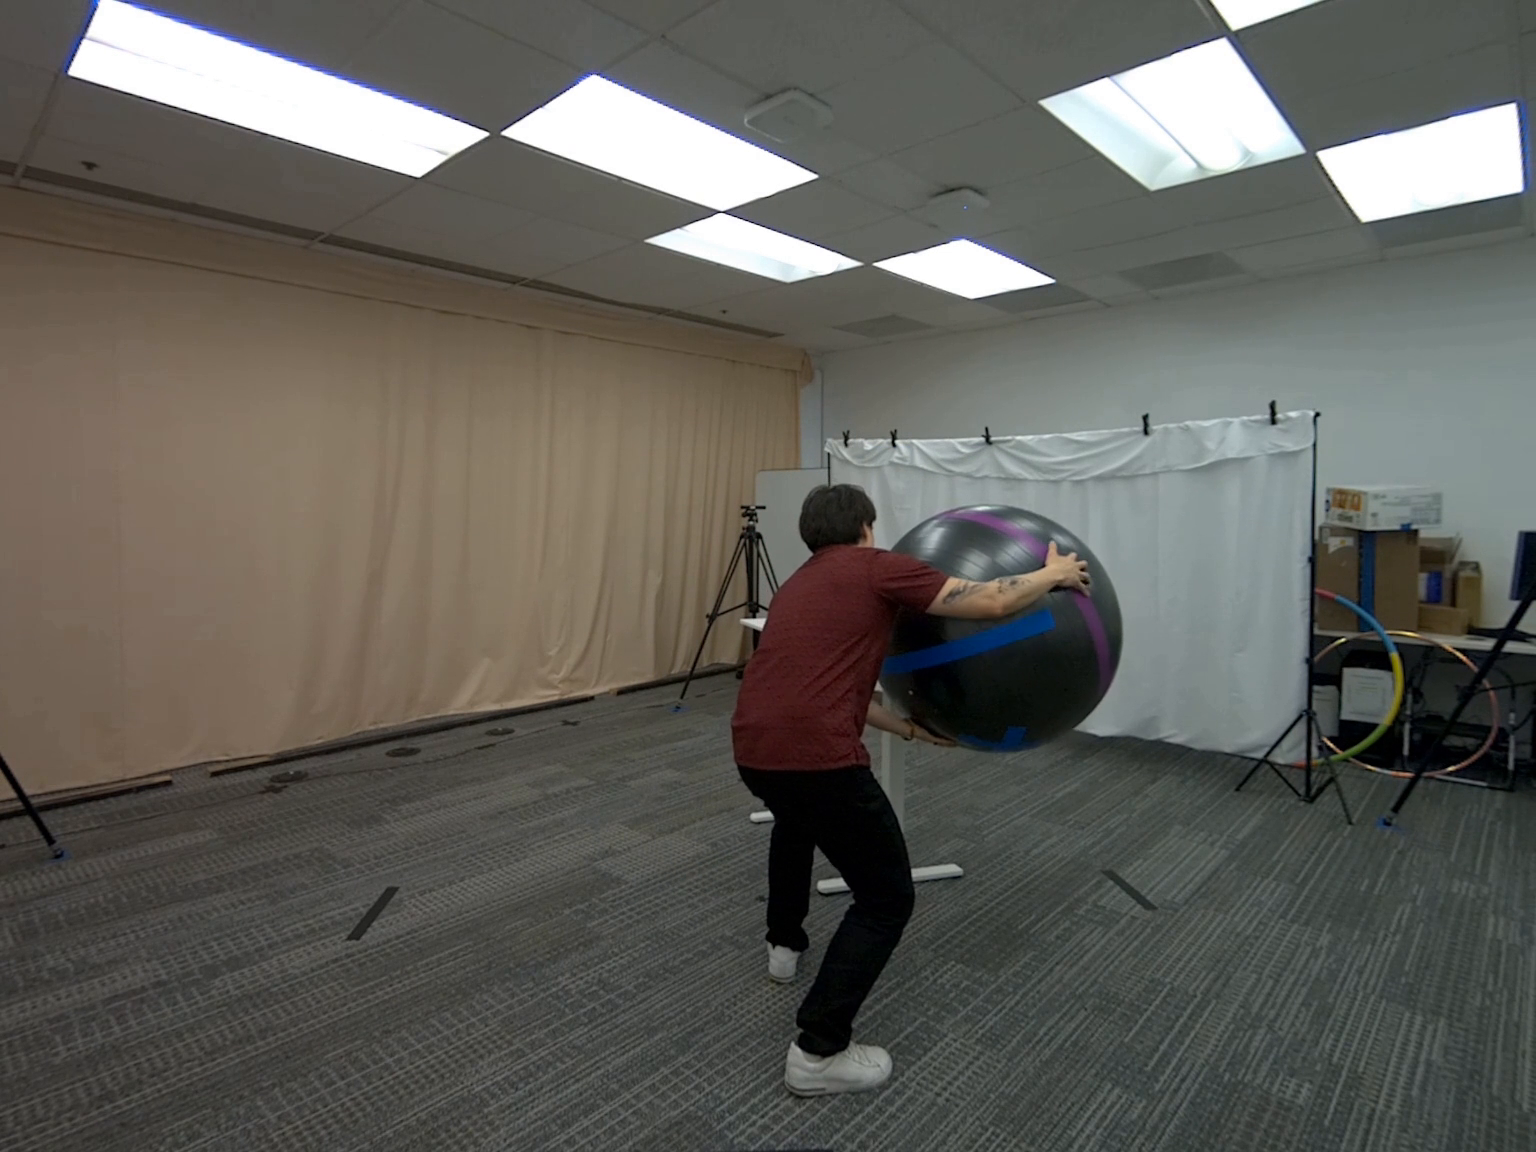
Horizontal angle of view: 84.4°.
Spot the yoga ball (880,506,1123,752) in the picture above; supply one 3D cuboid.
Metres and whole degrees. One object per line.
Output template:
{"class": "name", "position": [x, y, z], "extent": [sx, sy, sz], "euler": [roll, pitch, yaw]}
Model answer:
{"class": "yoga ball", "position": [0.703, 0.164, 2.615], "extent": [0.757, 0.756, 0.760], "euler": [0, 4, -2]}
